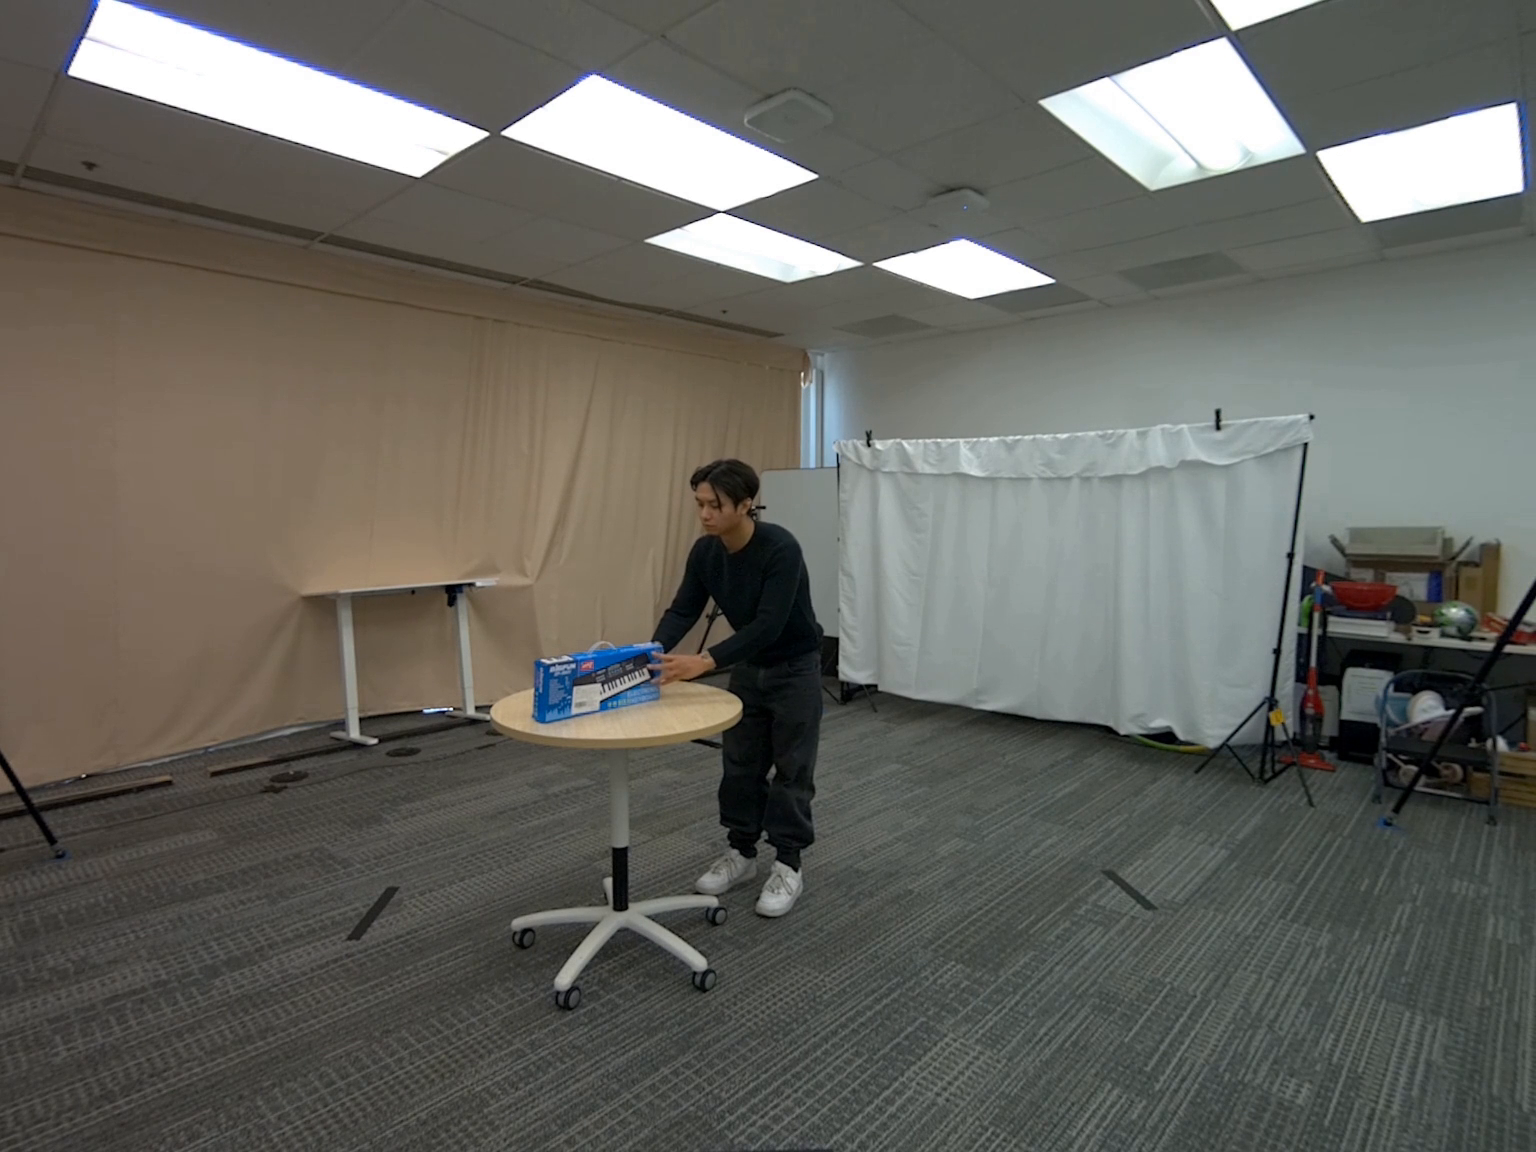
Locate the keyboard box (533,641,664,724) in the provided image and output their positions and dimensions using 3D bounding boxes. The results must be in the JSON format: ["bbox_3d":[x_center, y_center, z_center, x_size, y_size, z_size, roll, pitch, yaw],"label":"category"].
[{"bbox_3d":[-0.504,0.318,2.518,0.061,0.175,0.423,9,10,42],"label":"keyboard box"}]
